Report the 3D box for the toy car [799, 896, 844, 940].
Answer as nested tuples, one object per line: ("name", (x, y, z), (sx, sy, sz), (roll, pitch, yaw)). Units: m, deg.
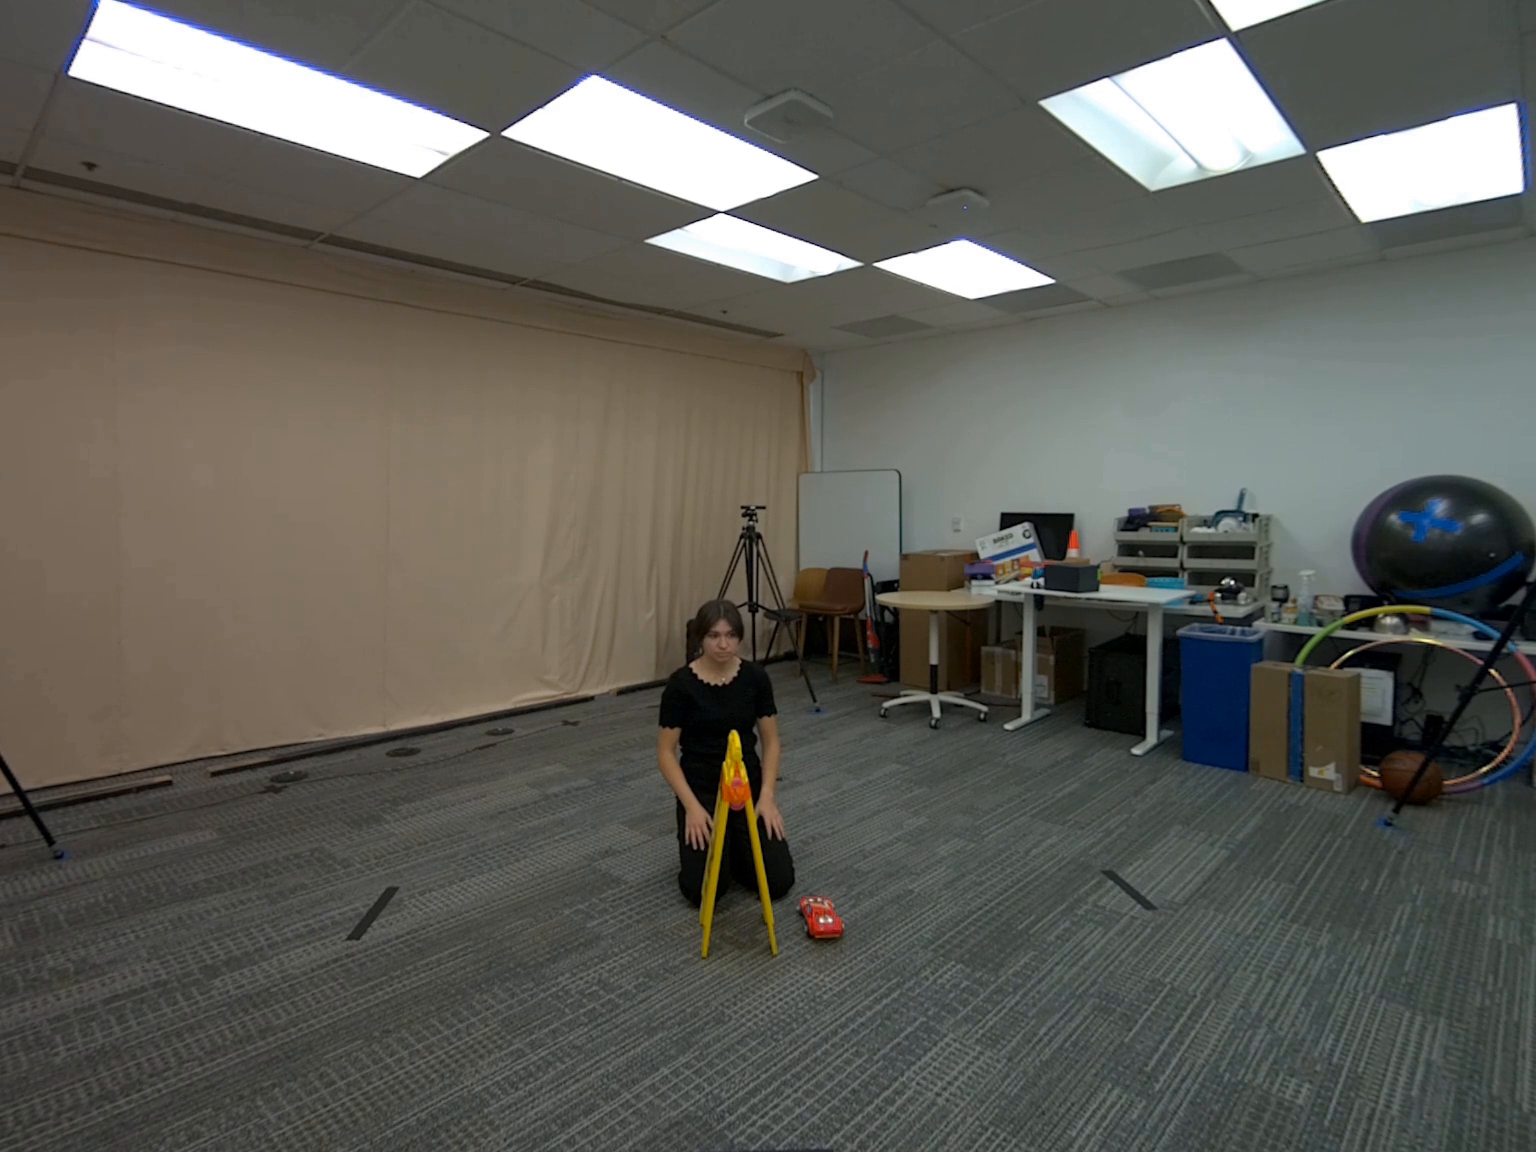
("toy car", (0.173, 1.131, 2.763), (0.129, 0.083, 0.255), (1, -7, -8))
